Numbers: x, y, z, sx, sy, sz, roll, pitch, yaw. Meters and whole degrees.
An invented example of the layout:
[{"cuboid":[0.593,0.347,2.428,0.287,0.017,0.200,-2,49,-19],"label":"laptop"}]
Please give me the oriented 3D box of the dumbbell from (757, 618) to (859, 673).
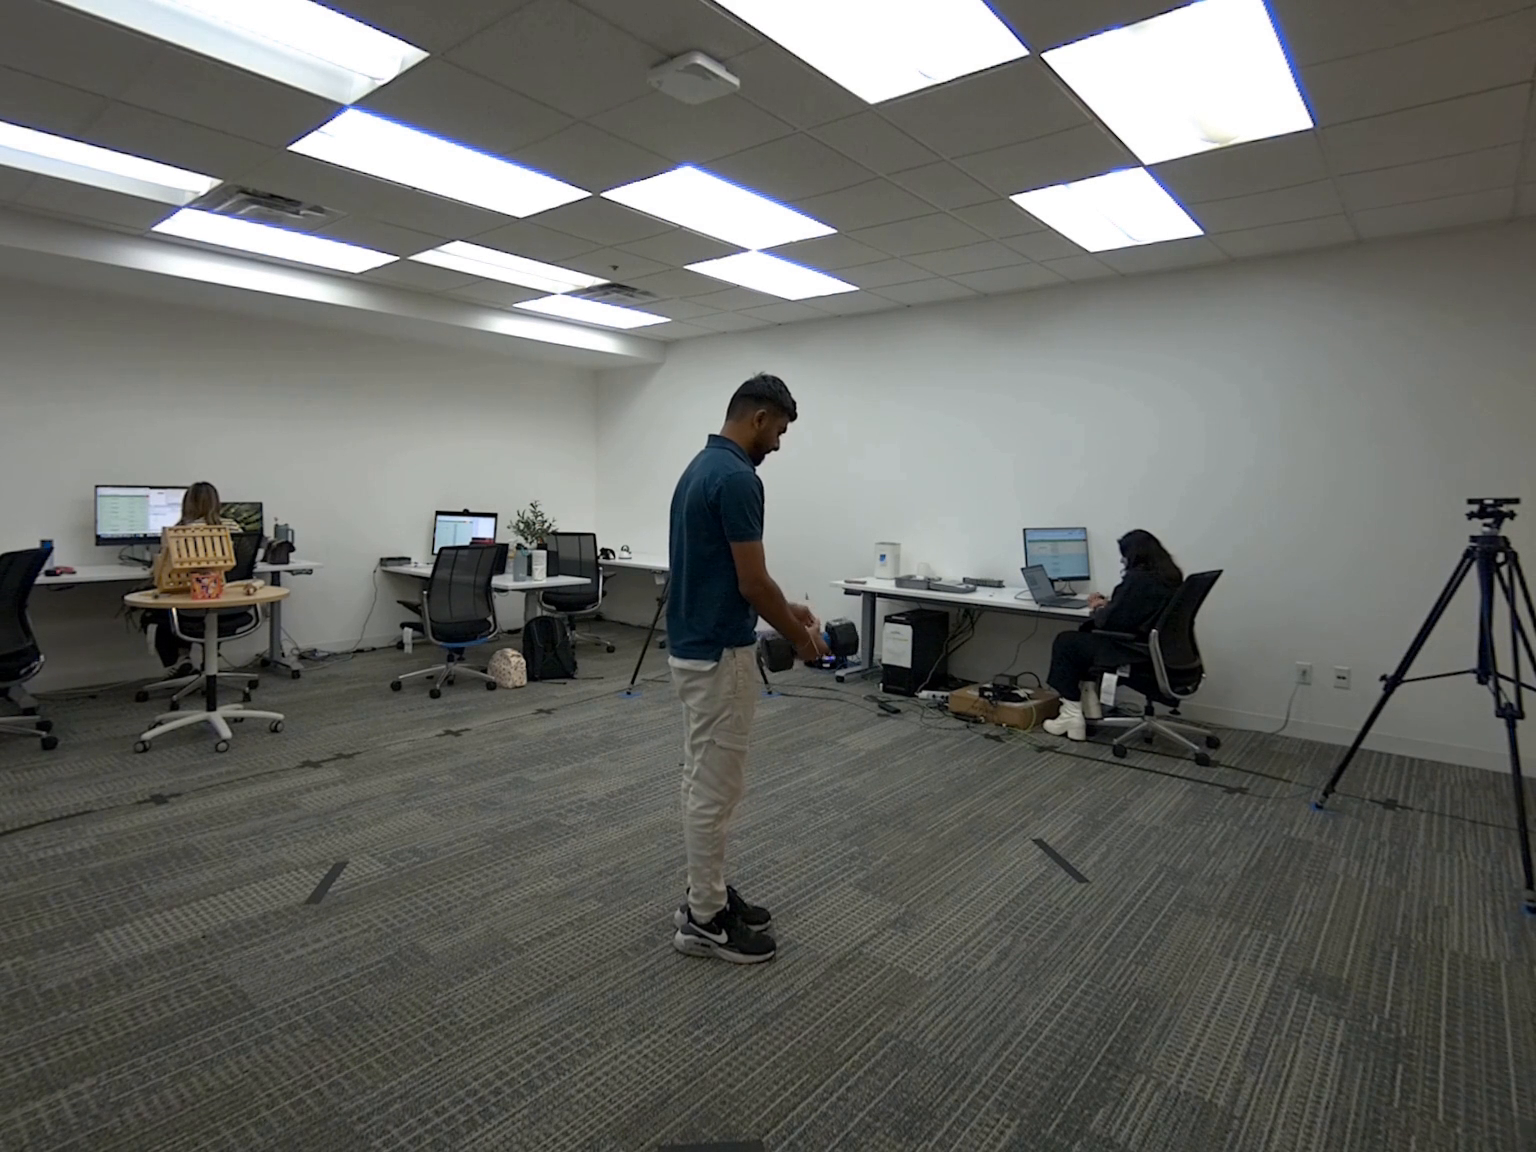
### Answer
[{"cuboid":[0.117,0.220,2.612,0.290,0.106,0.127,-12,23,-12],"label":"dumbbell"}]
